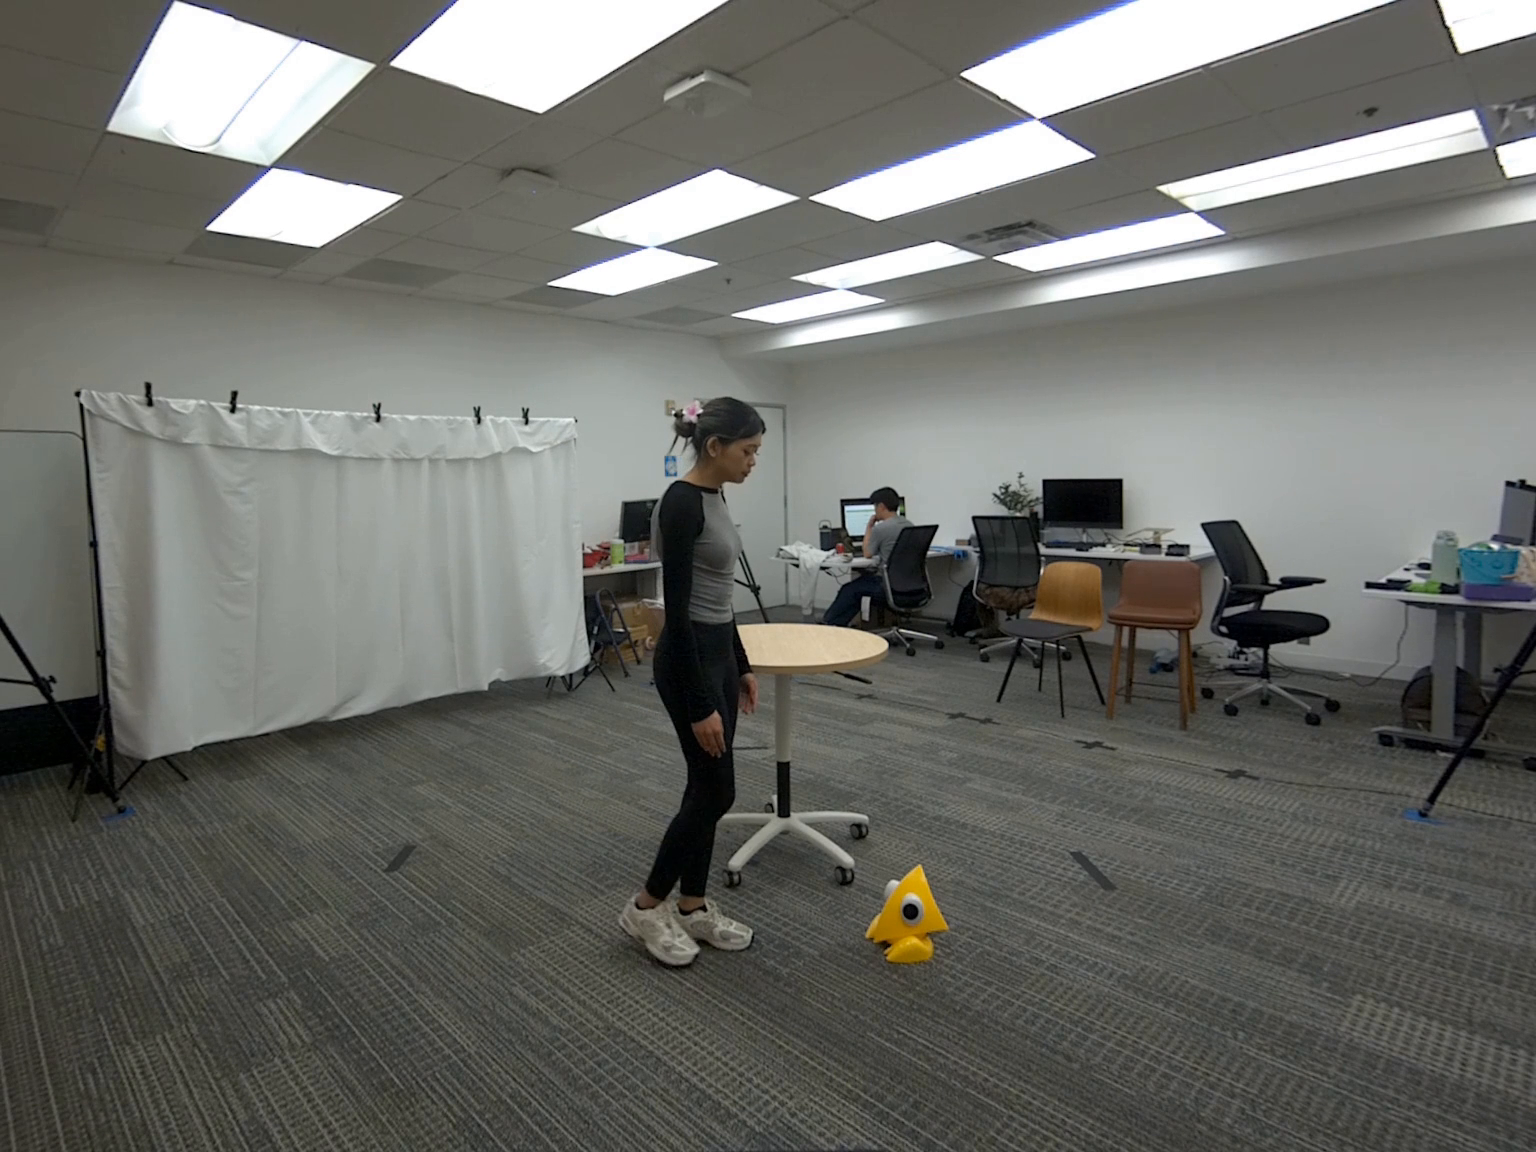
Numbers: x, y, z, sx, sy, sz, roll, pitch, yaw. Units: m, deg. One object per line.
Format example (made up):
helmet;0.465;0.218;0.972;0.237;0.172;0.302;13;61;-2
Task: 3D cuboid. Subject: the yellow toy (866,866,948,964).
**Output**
yellow toy;0.407;0.989;2.544;0.190;0.229;0.209;-3;6;-20
